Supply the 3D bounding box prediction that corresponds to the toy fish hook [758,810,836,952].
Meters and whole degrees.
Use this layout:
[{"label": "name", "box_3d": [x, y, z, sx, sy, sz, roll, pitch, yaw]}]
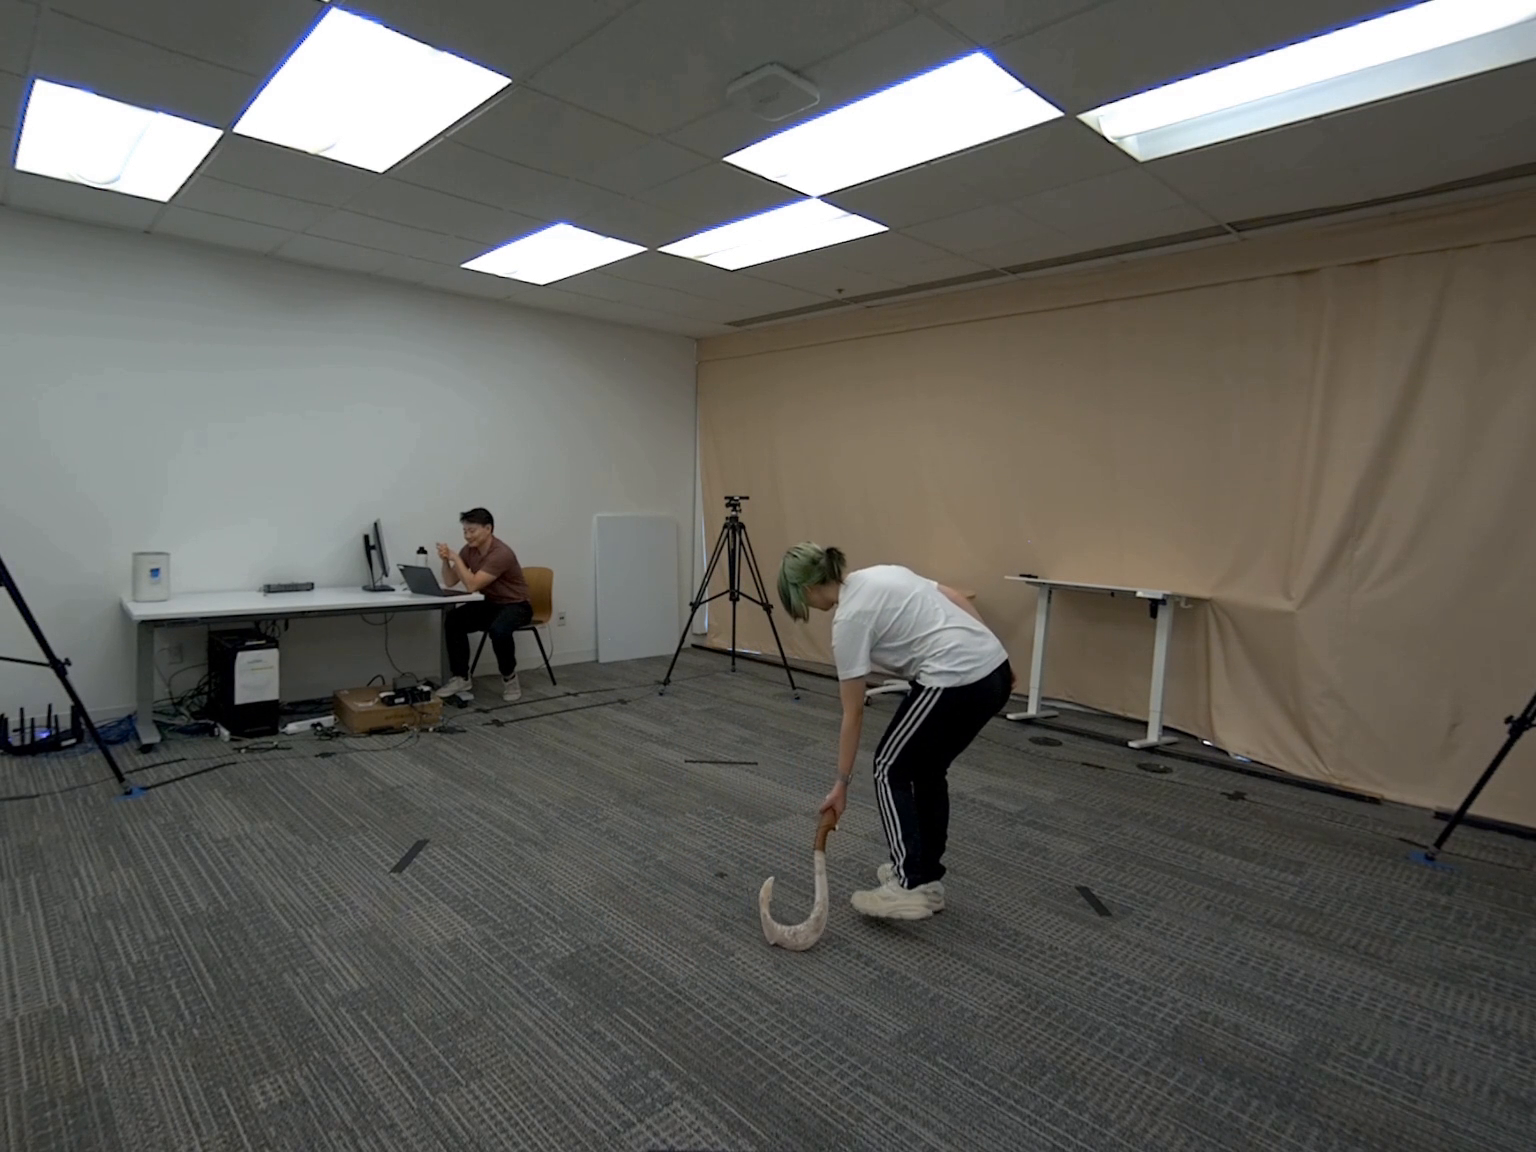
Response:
[{"label": "toy fish hook", "box_3d": [0.101, 0.944, 2.726, 0.227, 0.513, 0.047, 8, -33, 14]}]
